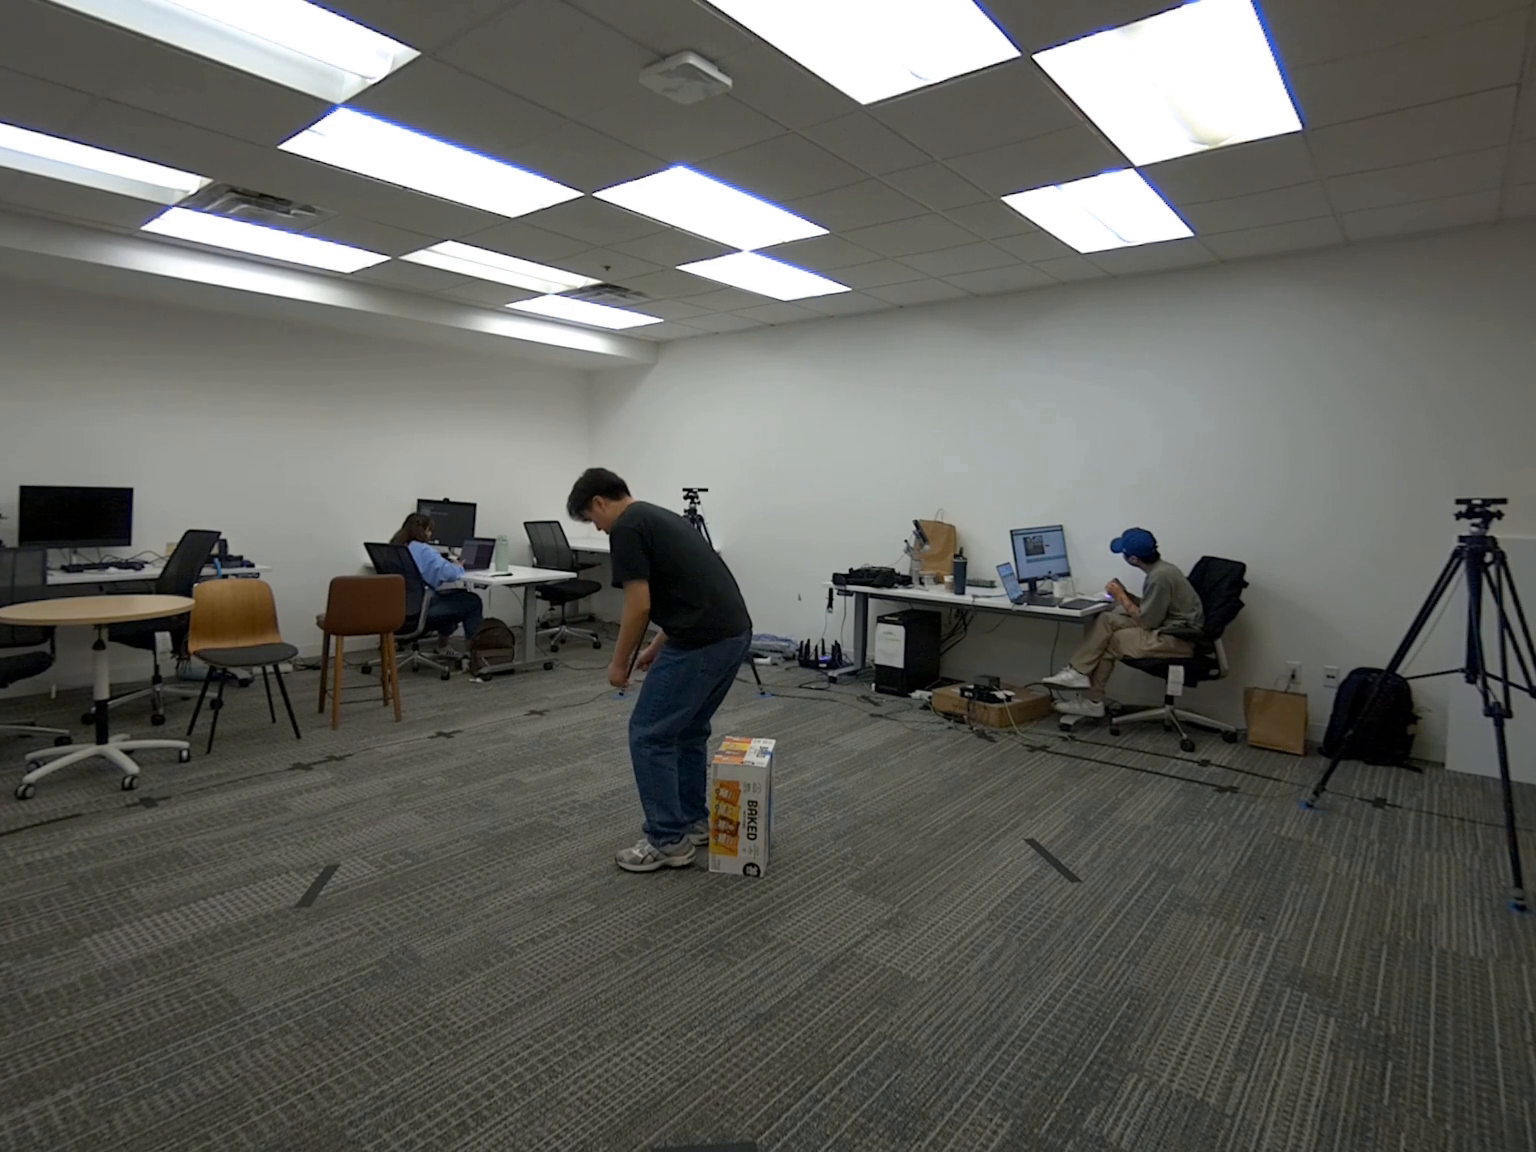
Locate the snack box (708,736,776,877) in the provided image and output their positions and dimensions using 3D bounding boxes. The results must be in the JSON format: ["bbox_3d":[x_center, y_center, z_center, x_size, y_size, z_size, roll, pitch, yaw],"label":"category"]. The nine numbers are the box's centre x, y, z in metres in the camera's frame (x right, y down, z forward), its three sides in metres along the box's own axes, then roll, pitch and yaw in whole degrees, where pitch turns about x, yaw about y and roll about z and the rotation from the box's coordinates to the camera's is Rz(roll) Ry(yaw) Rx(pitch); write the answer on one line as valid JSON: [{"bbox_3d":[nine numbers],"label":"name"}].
[{"bbox_3d":[-0.104,0.855,3.224,0.208,0.404,0.338,2,5,7],"label":"snack box"}]
